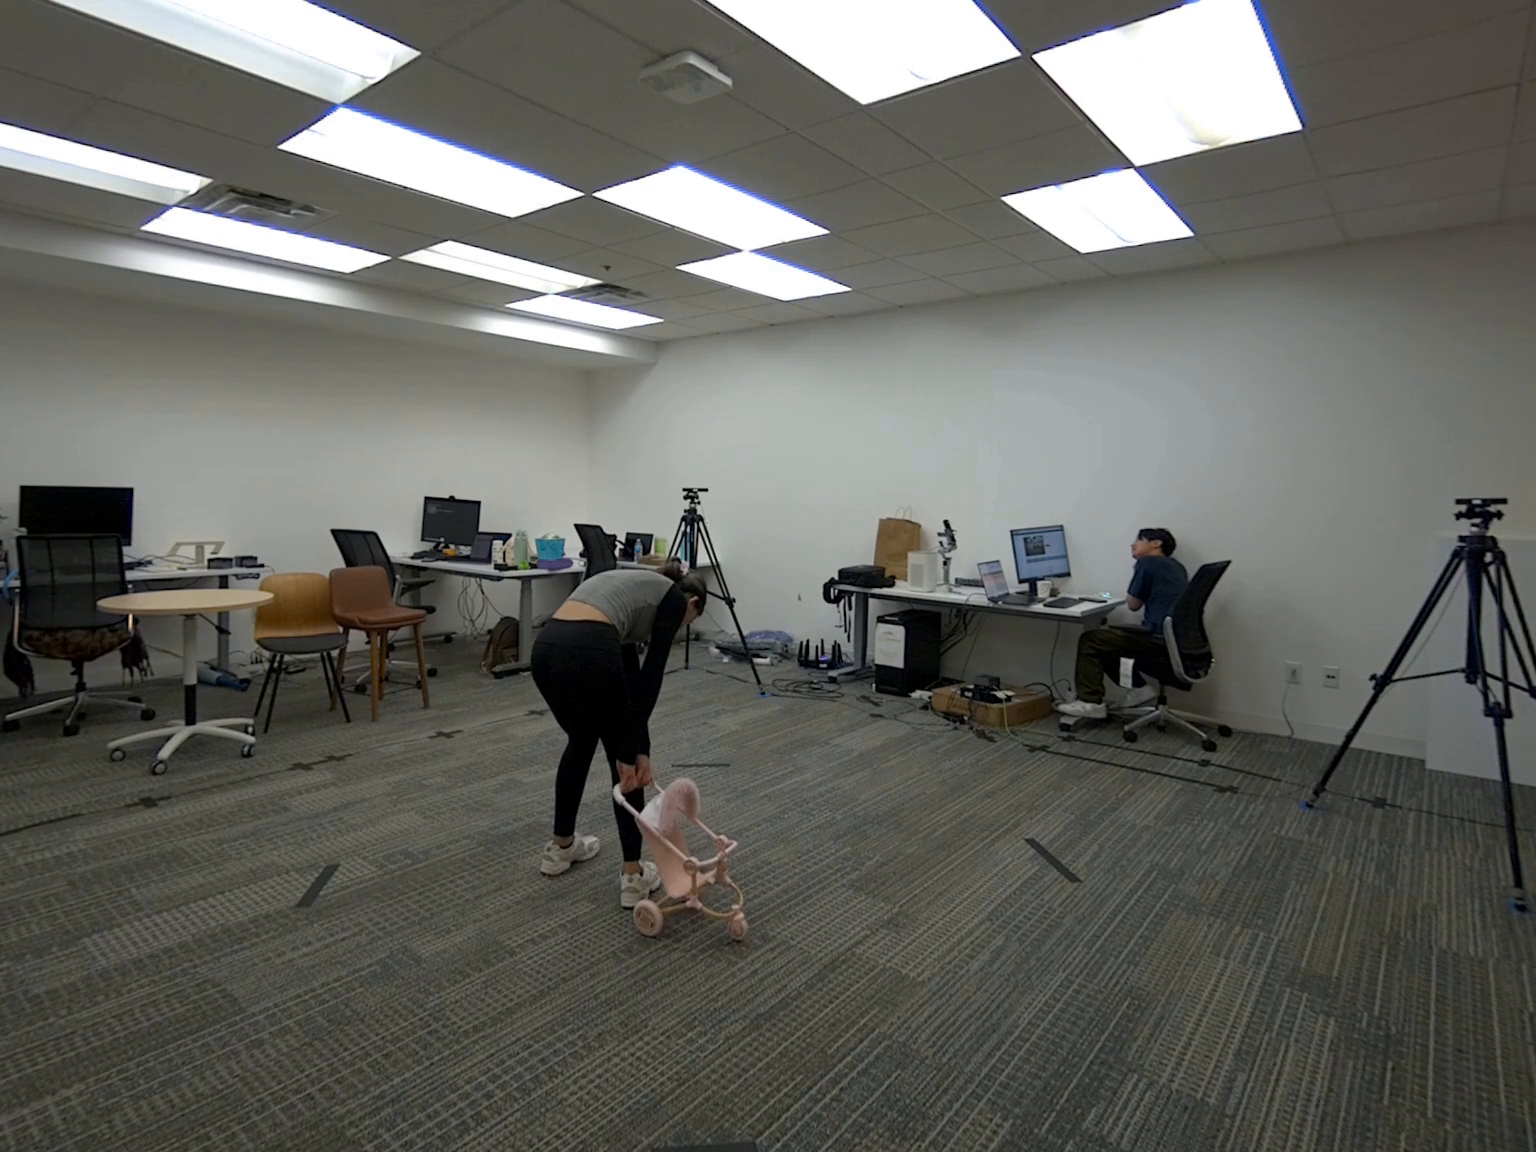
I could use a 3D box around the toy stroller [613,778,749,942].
[{"bbox_3d":[-0.267,0.884,2.696,0.348,0.539,0.274,-17,-6,32],"label":"toy stroller"}]
